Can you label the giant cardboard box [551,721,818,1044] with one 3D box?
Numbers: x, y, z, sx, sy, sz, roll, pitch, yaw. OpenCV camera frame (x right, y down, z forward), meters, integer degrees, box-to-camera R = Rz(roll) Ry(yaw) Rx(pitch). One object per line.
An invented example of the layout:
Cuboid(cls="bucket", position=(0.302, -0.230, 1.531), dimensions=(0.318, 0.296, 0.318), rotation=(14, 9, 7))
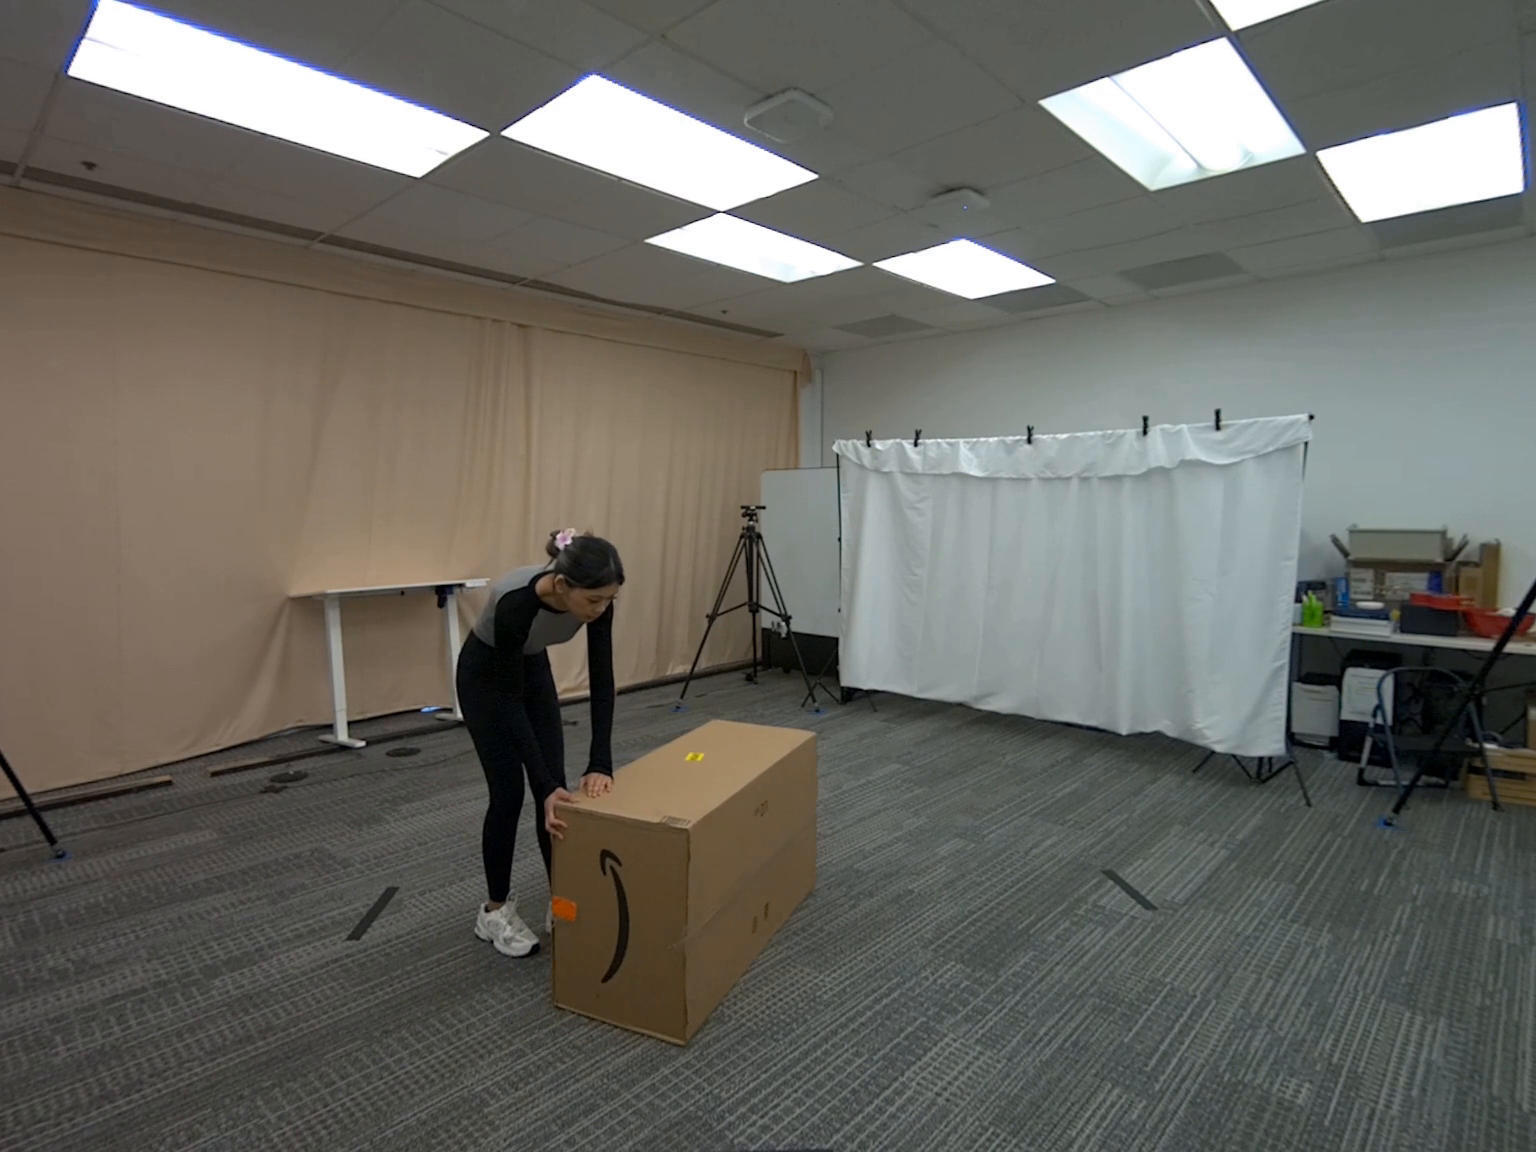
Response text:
Cuboid(cls="giant cardboard box", position=(-0.209, 0.880, 2.701), dimensions=(0.458, 0.583, 1.004), rotation=(1, 4, 23))
